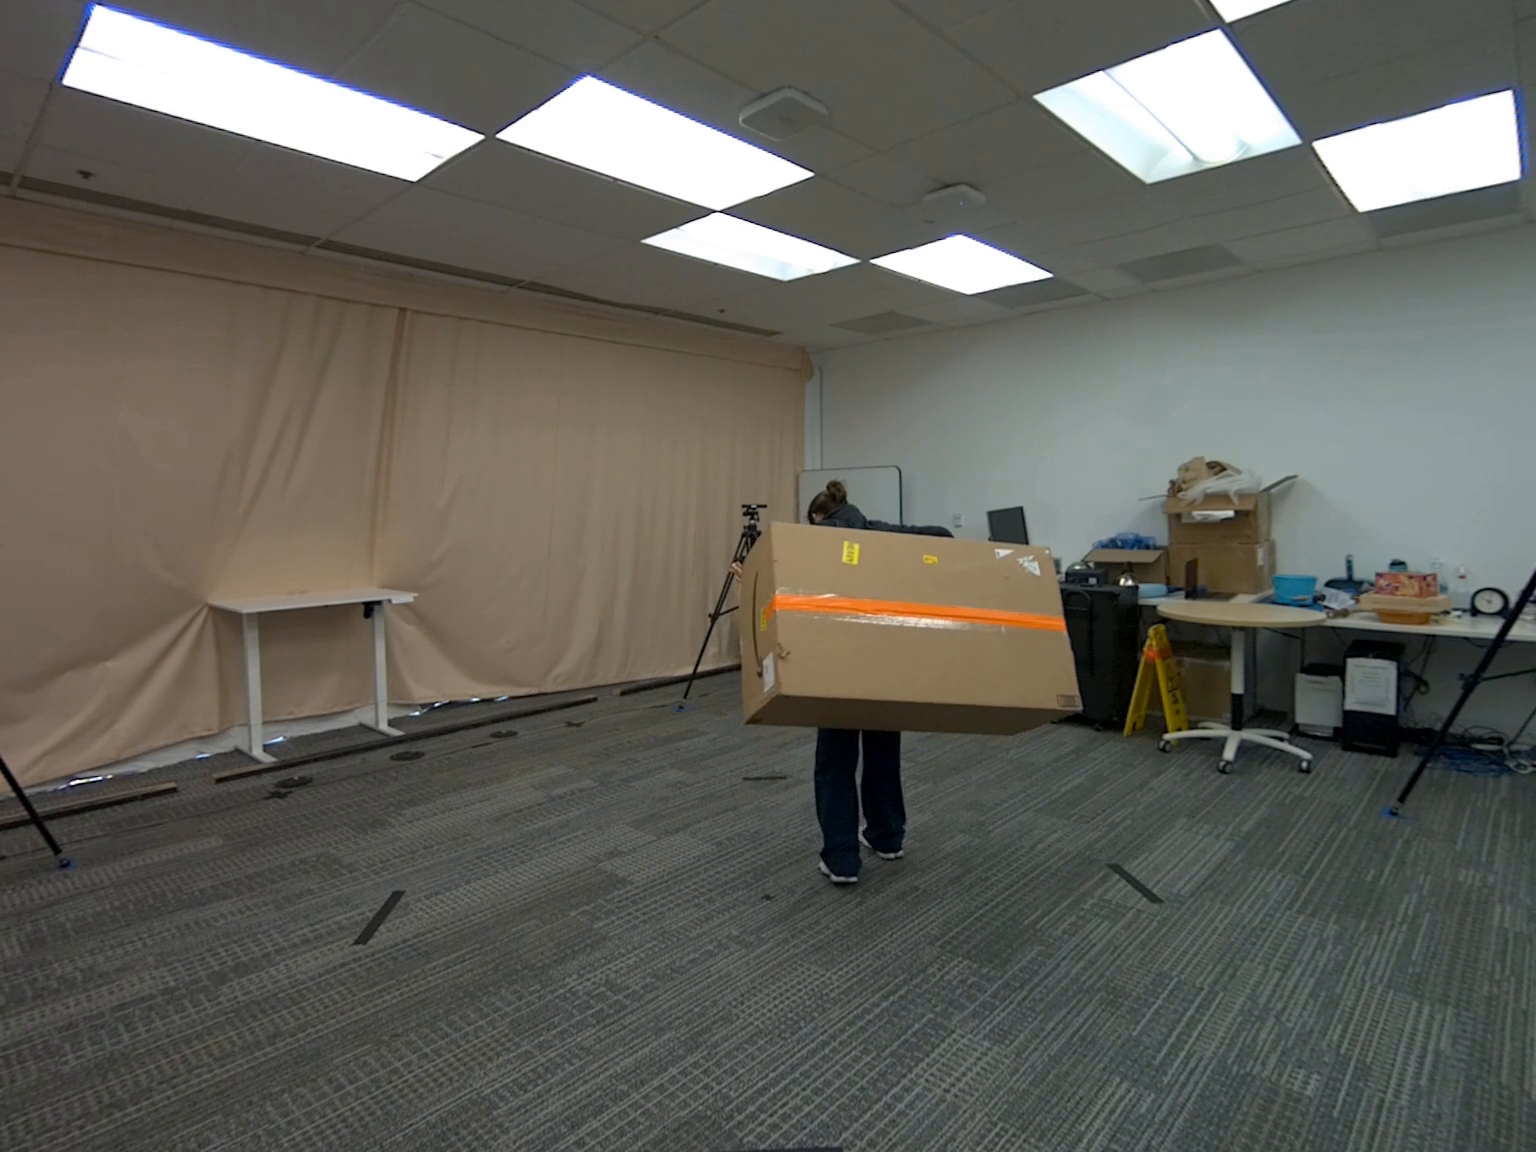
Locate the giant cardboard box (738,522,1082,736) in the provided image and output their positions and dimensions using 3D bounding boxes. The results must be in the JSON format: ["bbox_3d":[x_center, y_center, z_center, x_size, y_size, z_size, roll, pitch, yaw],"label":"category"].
[{"bbox_3d":[0.463,0.206,2.892,1.011,0.586,0.426,4,-25,-13],"label":"giant cardboard box"}]
